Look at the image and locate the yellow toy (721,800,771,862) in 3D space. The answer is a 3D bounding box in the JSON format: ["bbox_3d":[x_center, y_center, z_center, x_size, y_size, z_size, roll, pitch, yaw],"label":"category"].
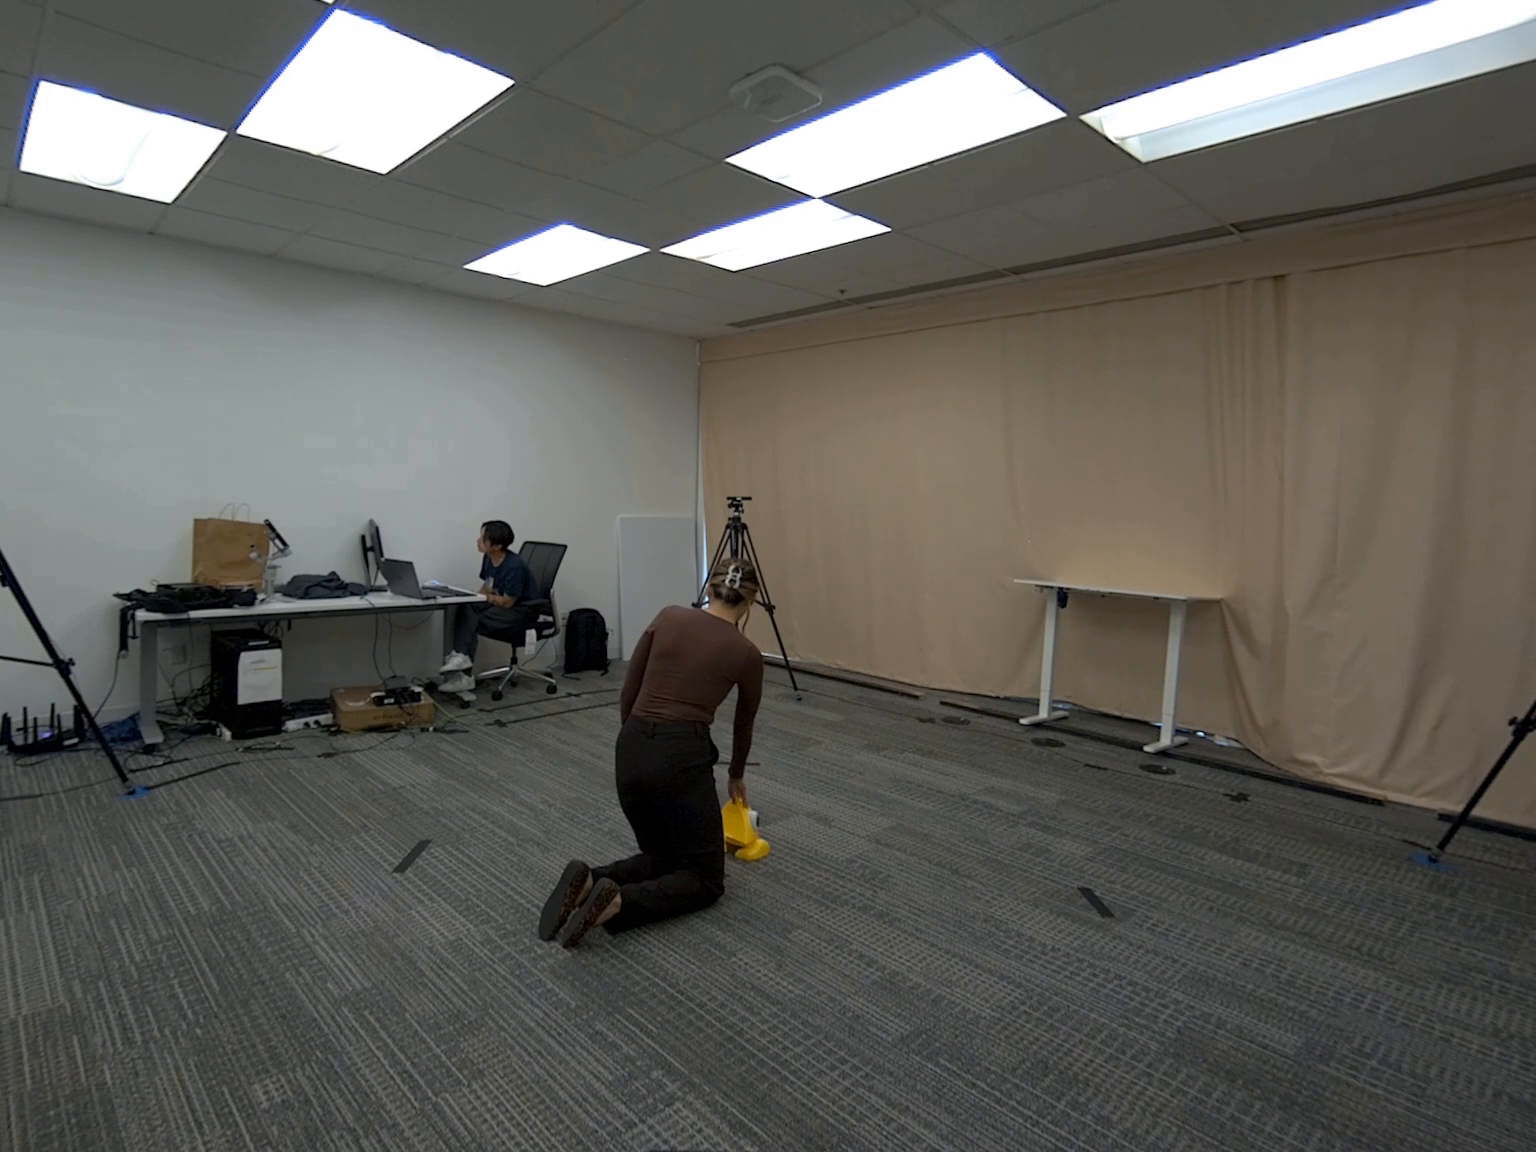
[{"bbox_3d":[-0.104,0.972,3.333,0.210,0.230,0.189,5,5,40],"label":"yellow toy"}]
